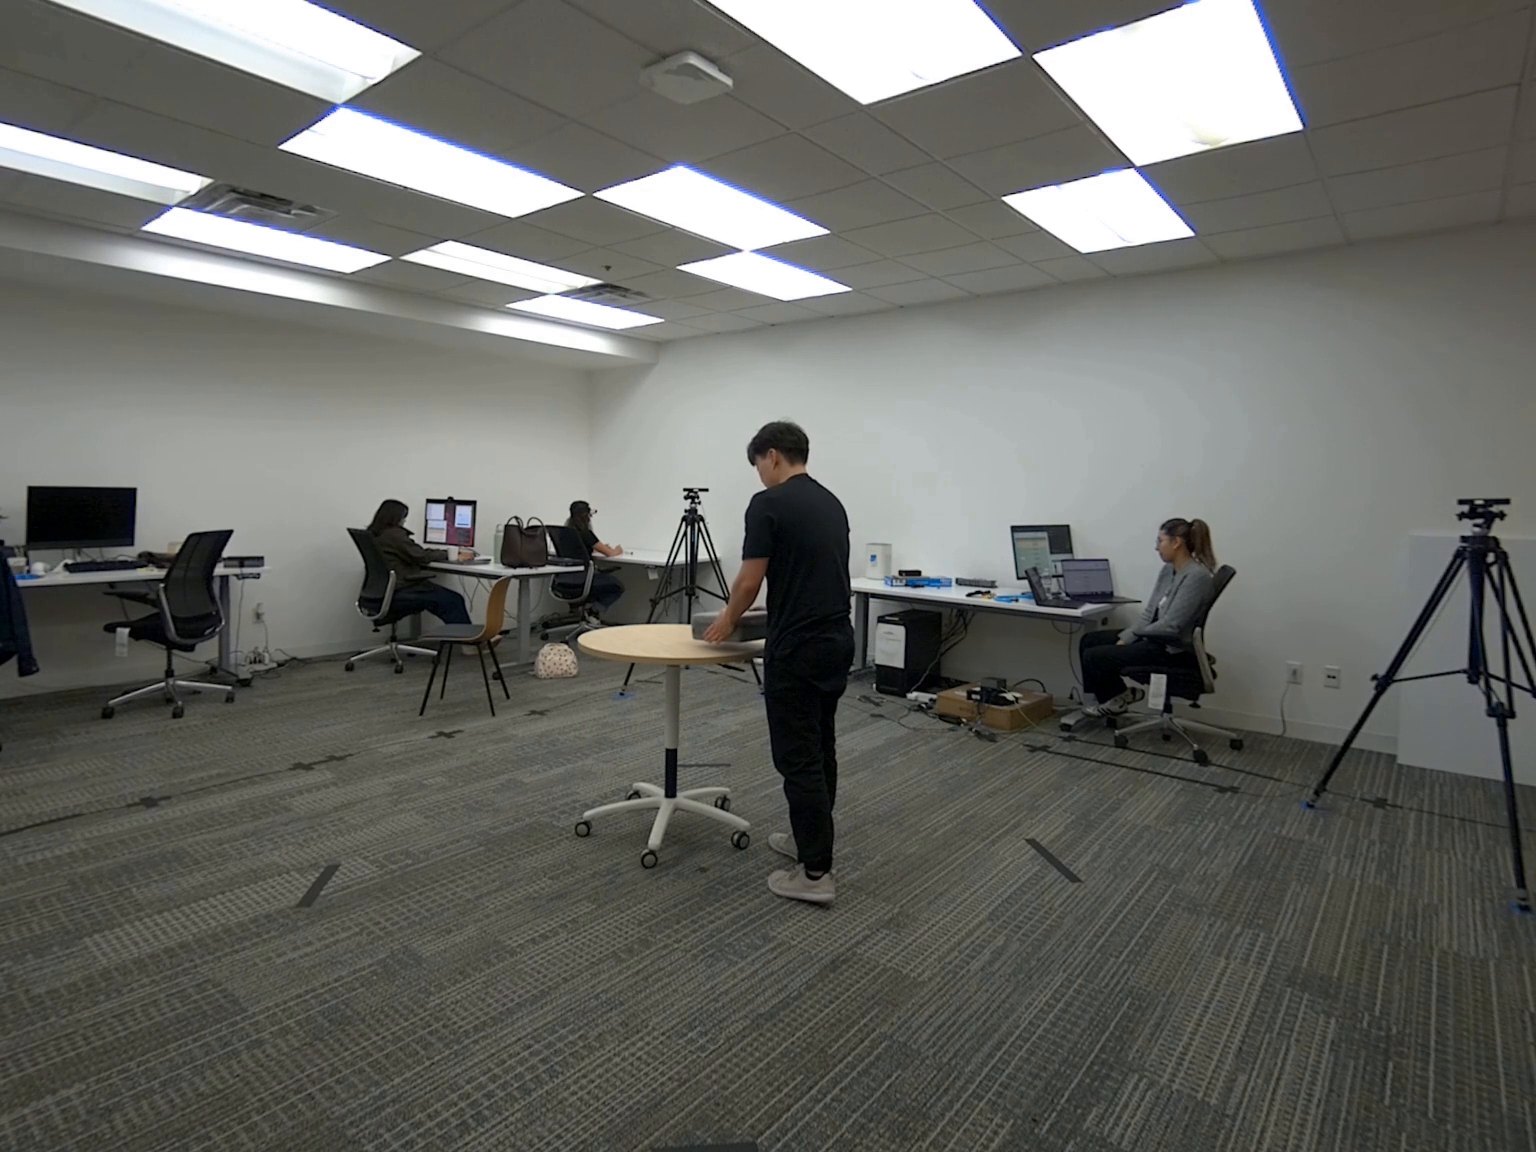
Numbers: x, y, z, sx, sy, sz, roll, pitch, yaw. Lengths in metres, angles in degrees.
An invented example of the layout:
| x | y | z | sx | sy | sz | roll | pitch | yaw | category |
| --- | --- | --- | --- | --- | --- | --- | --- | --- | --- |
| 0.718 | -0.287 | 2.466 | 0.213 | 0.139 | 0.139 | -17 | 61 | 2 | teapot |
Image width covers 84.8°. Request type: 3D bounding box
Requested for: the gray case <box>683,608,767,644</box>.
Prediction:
| x | y | z | sx | sy | sz | roll | pitch | yaw | category |
| --- | --- | --- | --- | --- | --- | --- | --- | --- | --- |
| -0.150 | 0.189 | 3.295 | 0.268 | 0.104 | 0.250 | 0 | 3 | 34 | gray case |
